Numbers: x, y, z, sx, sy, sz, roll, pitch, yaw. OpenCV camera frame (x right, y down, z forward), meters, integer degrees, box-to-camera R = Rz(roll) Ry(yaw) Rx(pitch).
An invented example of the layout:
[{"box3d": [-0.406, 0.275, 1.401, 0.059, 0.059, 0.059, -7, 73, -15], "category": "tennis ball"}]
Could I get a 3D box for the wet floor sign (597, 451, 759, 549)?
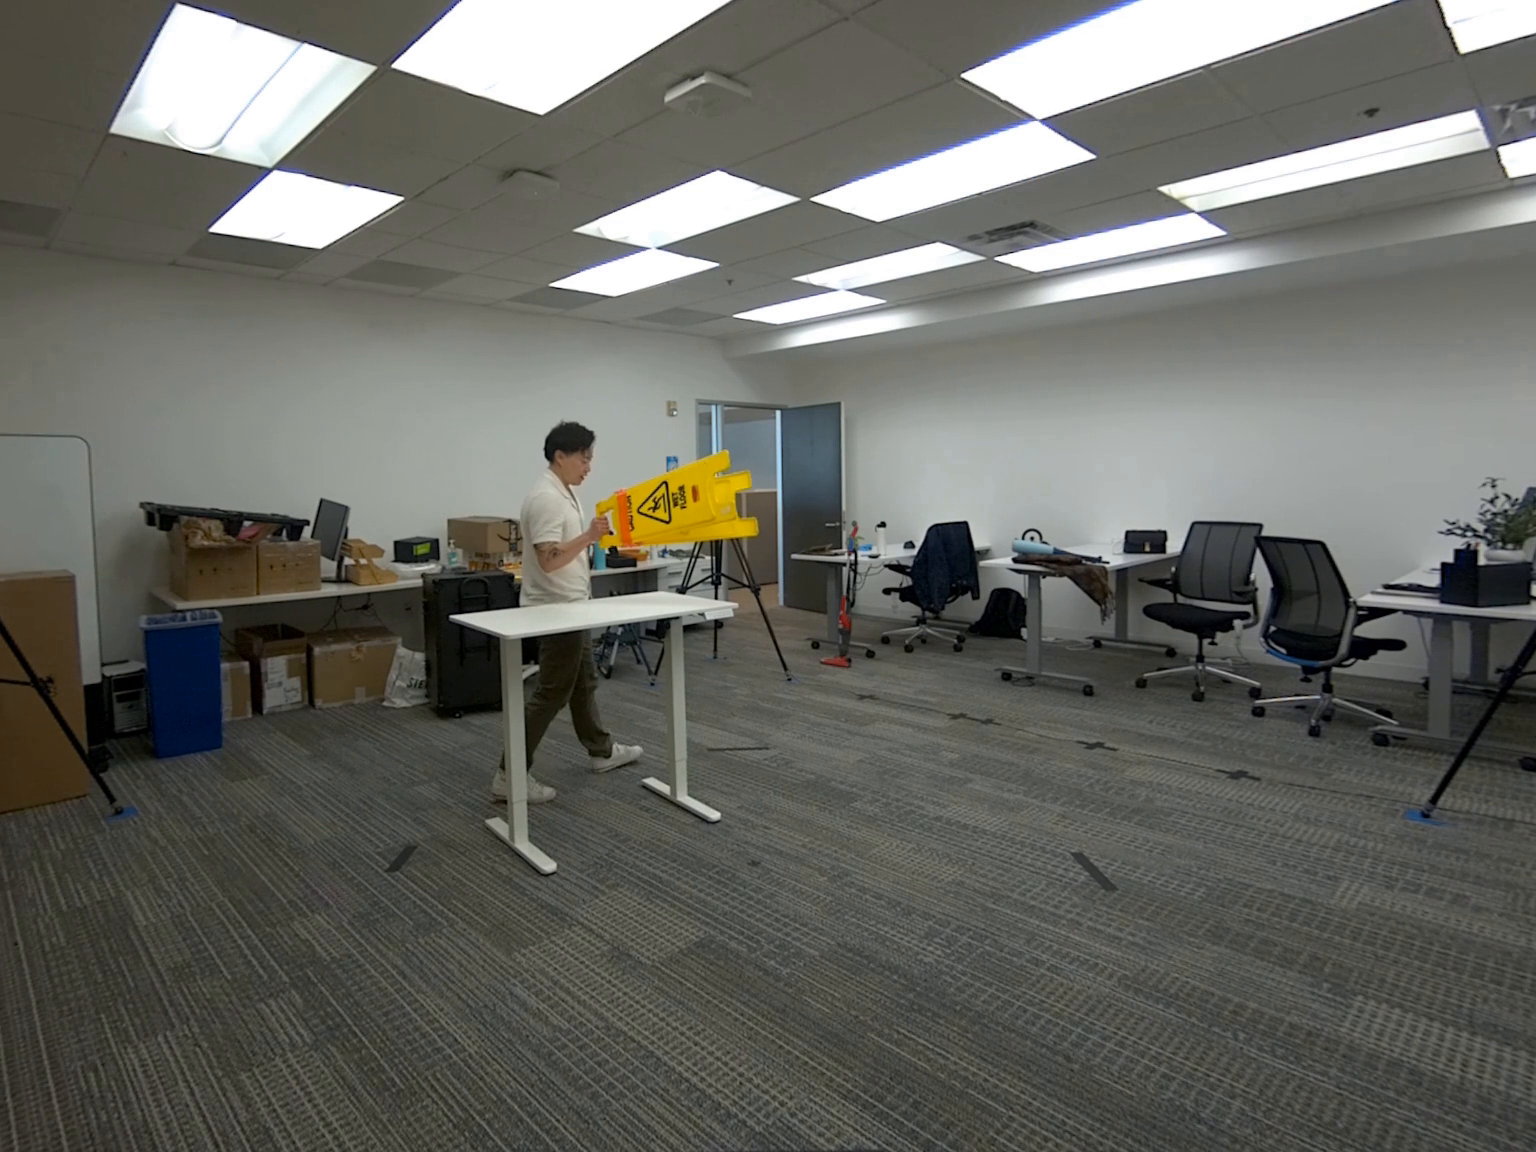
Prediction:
[{"box3d": [-0.408, -0.268, 3.463, 0.654, 0.287, 0.282, -11, -15, 16], "category": "wet floor sign"}]
